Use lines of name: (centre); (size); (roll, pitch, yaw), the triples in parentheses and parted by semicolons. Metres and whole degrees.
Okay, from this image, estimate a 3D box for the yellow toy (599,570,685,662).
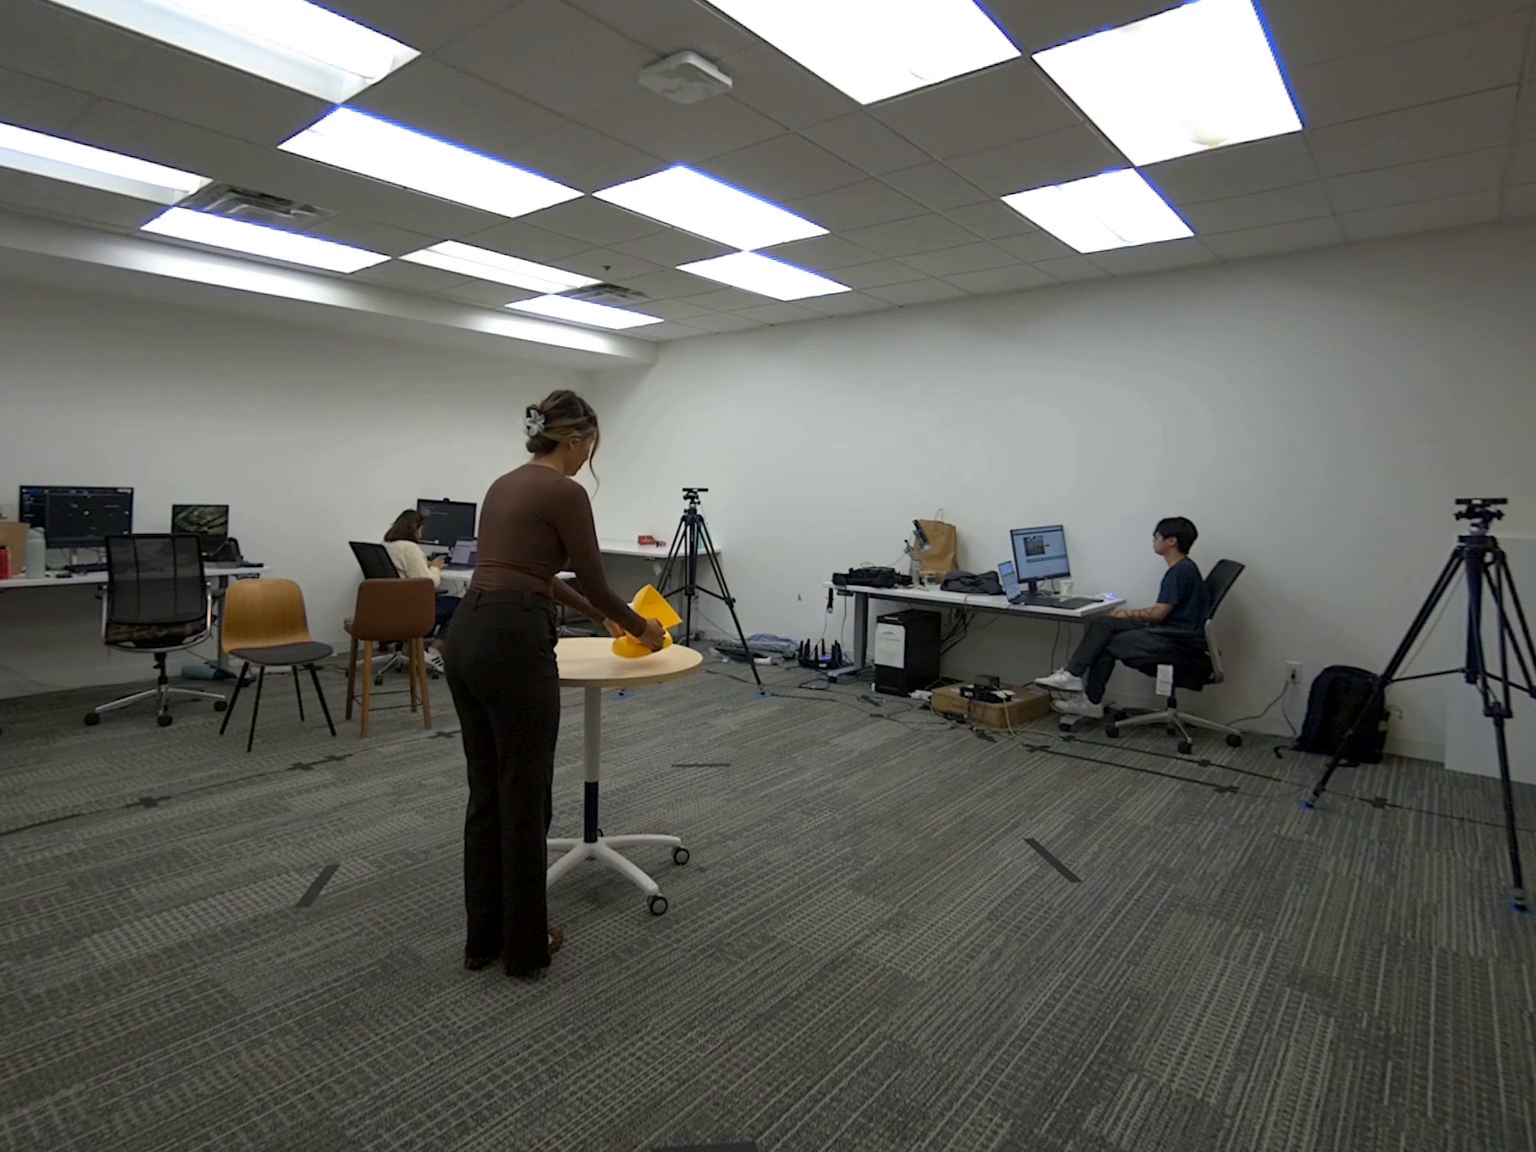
yellow toy: (-0.434, 0.129, 2.842); (0.200, 0.227, 0.200); (8, 19, 43)
